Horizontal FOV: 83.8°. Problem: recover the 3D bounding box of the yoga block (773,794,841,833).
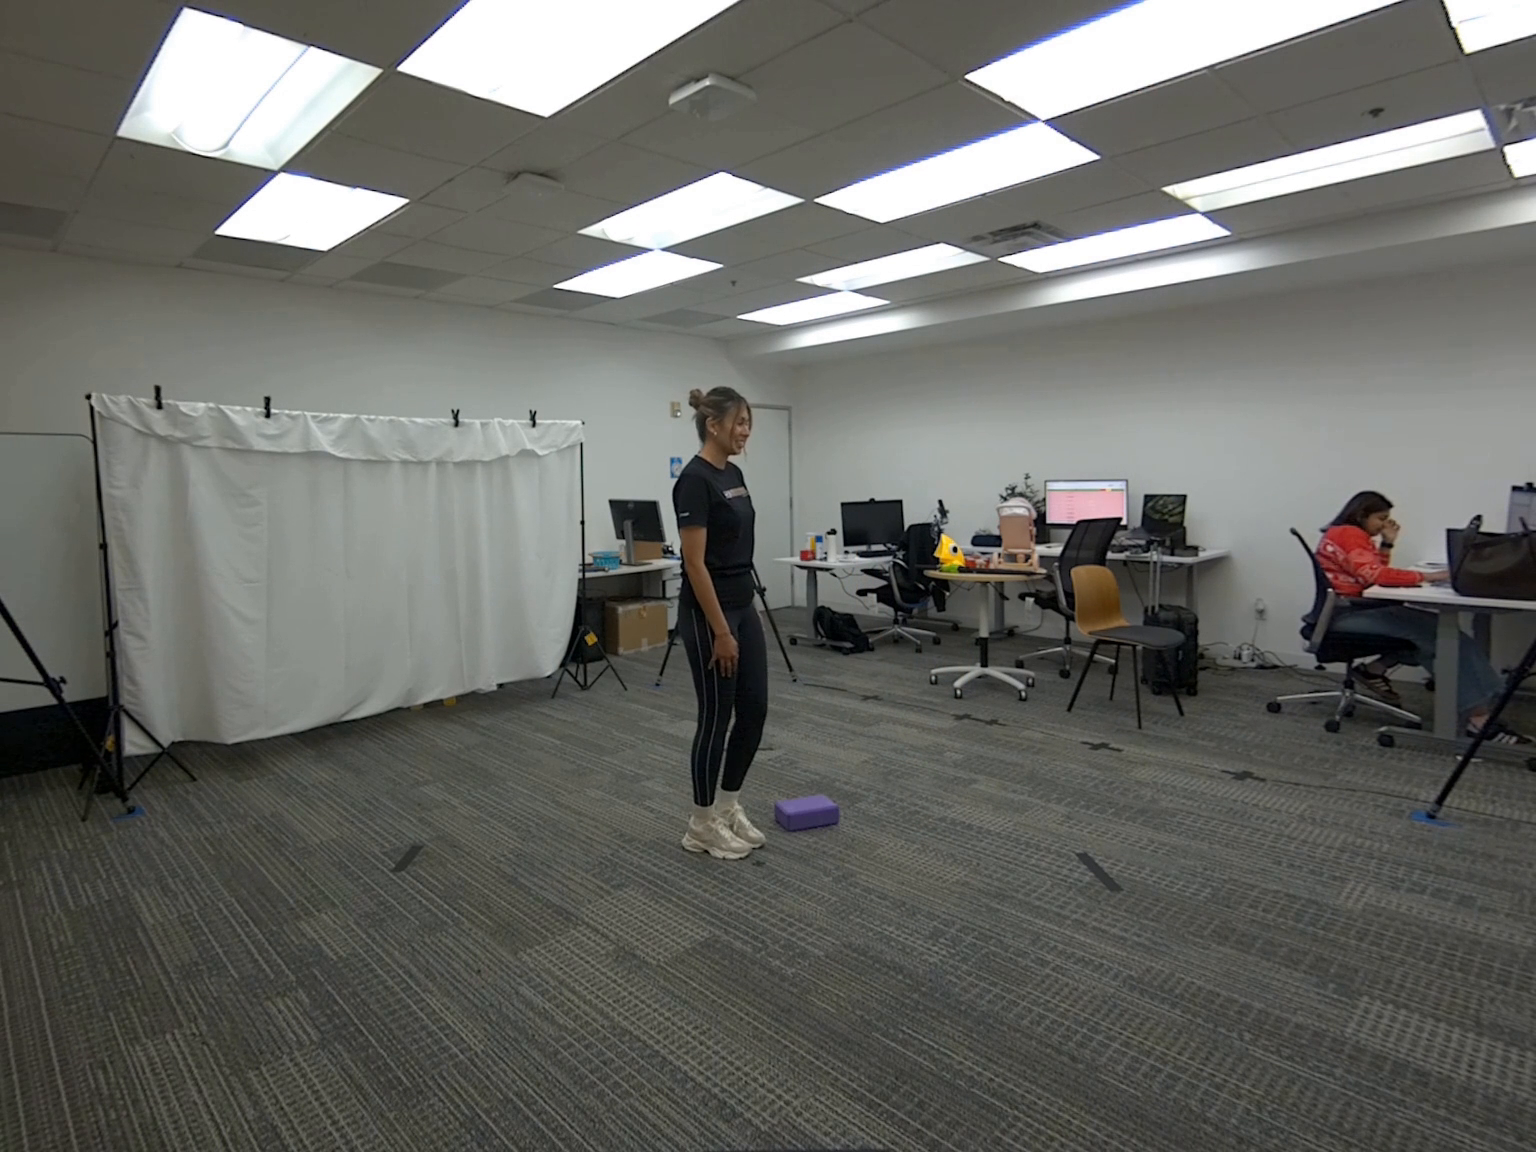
[{"bbox_3d":[0.156,0.961,3.479,0.225,0.076,0.152,-4,7,-20],"label":"yoga block"}]
